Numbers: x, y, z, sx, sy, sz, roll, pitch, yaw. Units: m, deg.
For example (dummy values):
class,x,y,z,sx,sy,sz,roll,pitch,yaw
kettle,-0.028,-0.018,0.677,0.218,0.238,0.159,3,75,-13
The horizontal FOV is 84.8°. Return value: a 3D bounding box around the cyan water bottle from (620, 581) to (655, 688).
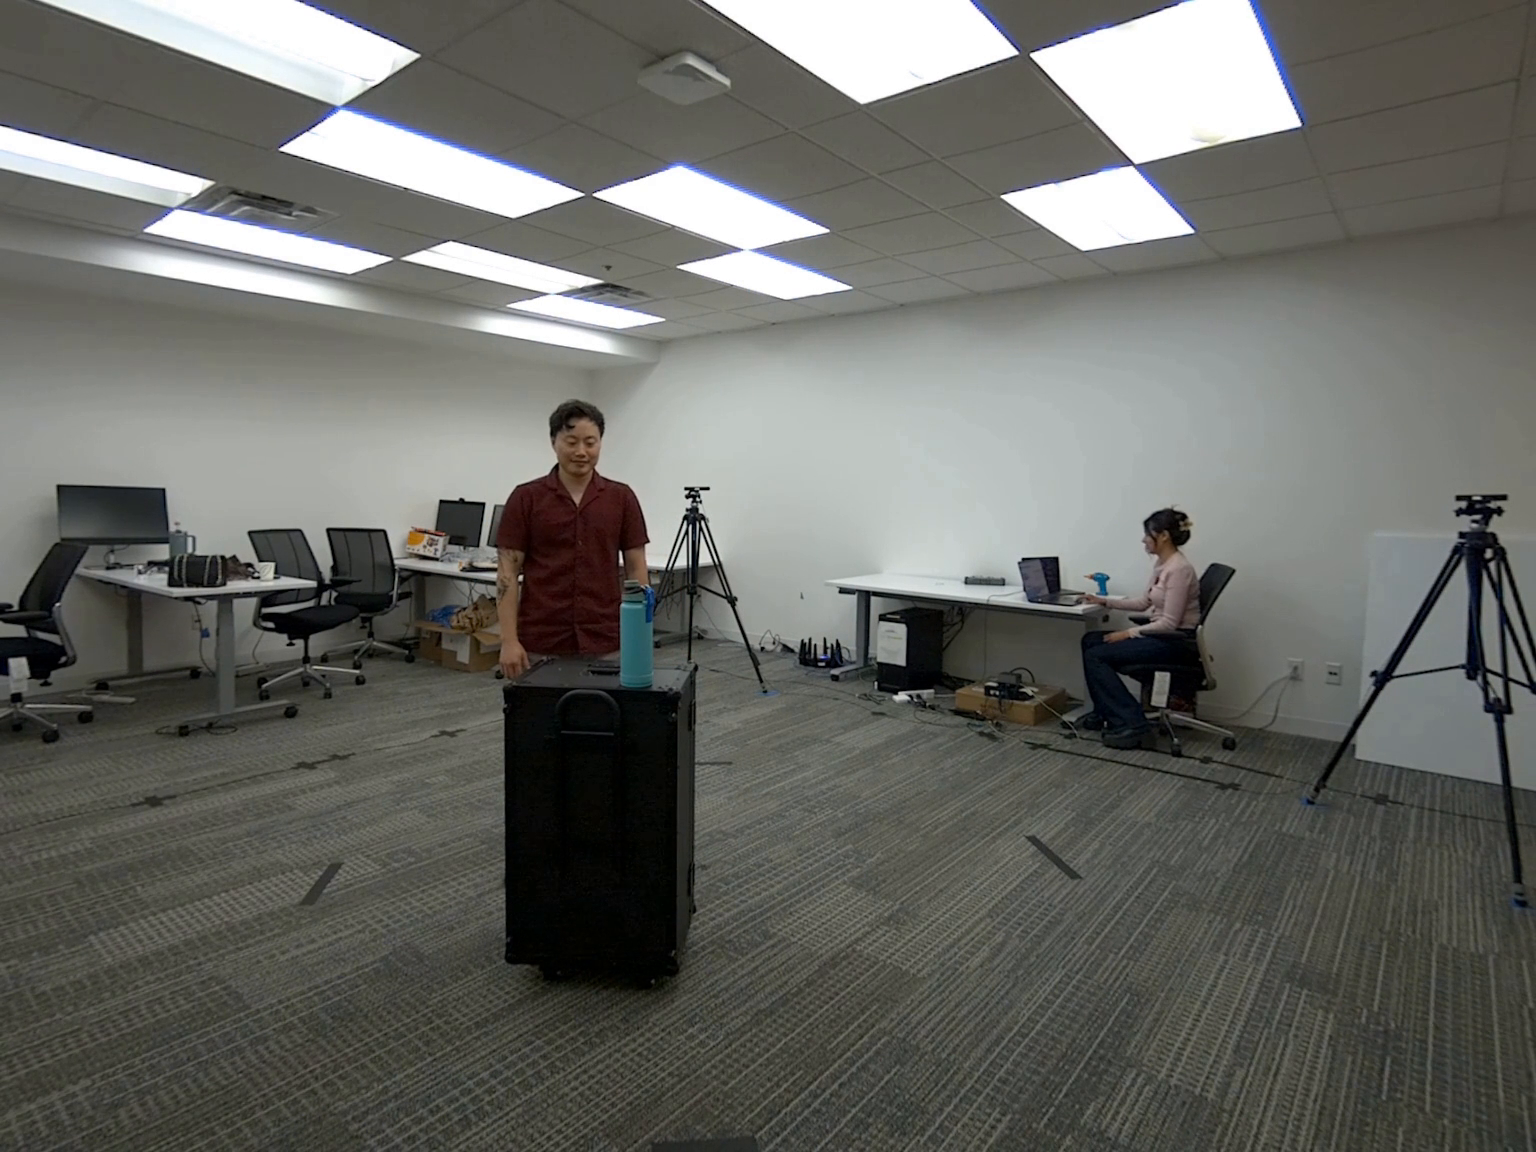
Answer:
class,x,y,z,sx,sy,sz,roll,pitch,yaw
cyan water bottle,-0.369,0.155,2.325,0.092,0.282,0.093,1,5,-2
